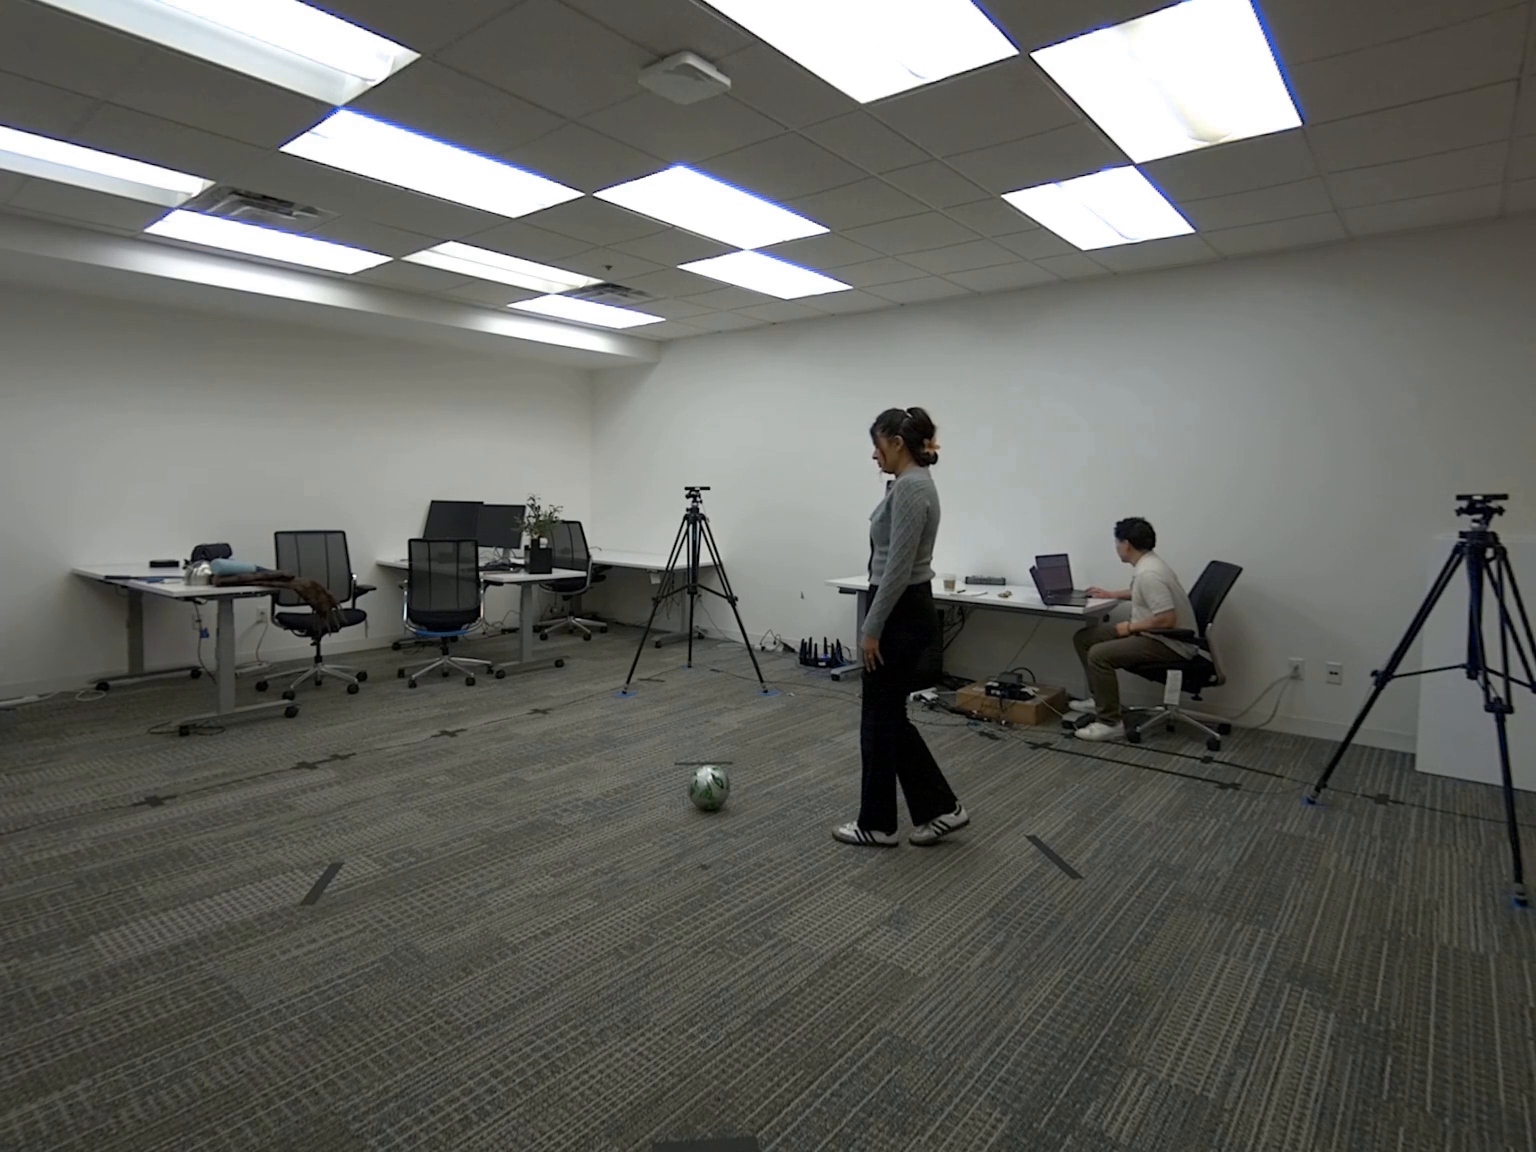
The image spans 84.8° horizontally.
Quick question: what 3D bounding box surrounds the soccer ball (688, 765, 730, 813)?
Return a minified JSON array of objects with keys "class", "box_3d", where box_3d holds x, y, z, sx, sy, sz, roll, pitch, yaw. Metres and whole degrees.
[{"class":"soccer ball","box_3d":[-0.268,0.910,3.685,0.187,0.187,0.188,1,4,-2]}]
